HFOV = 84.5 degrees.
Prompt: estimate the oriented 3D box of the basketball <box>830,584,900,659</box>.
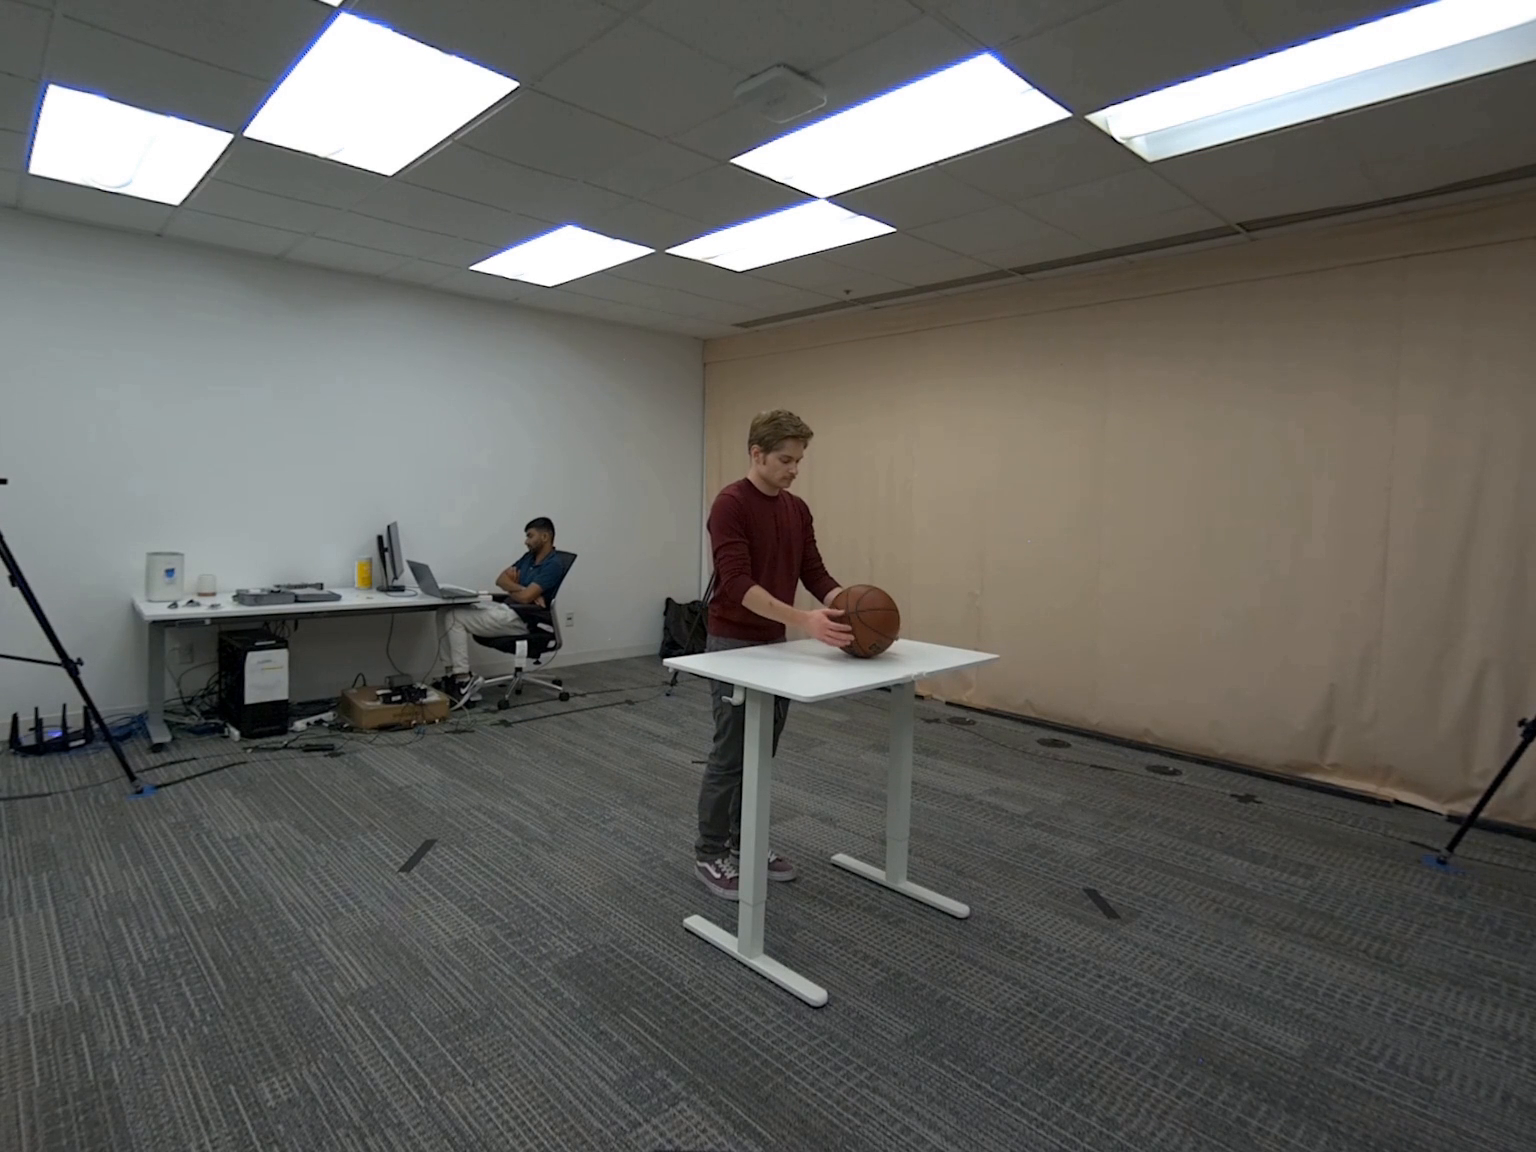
[{"bbox_3d":[0.300,0.144,2.767,0.236,0.235,0.237,1,4,-1],"label":"basketball"}]
